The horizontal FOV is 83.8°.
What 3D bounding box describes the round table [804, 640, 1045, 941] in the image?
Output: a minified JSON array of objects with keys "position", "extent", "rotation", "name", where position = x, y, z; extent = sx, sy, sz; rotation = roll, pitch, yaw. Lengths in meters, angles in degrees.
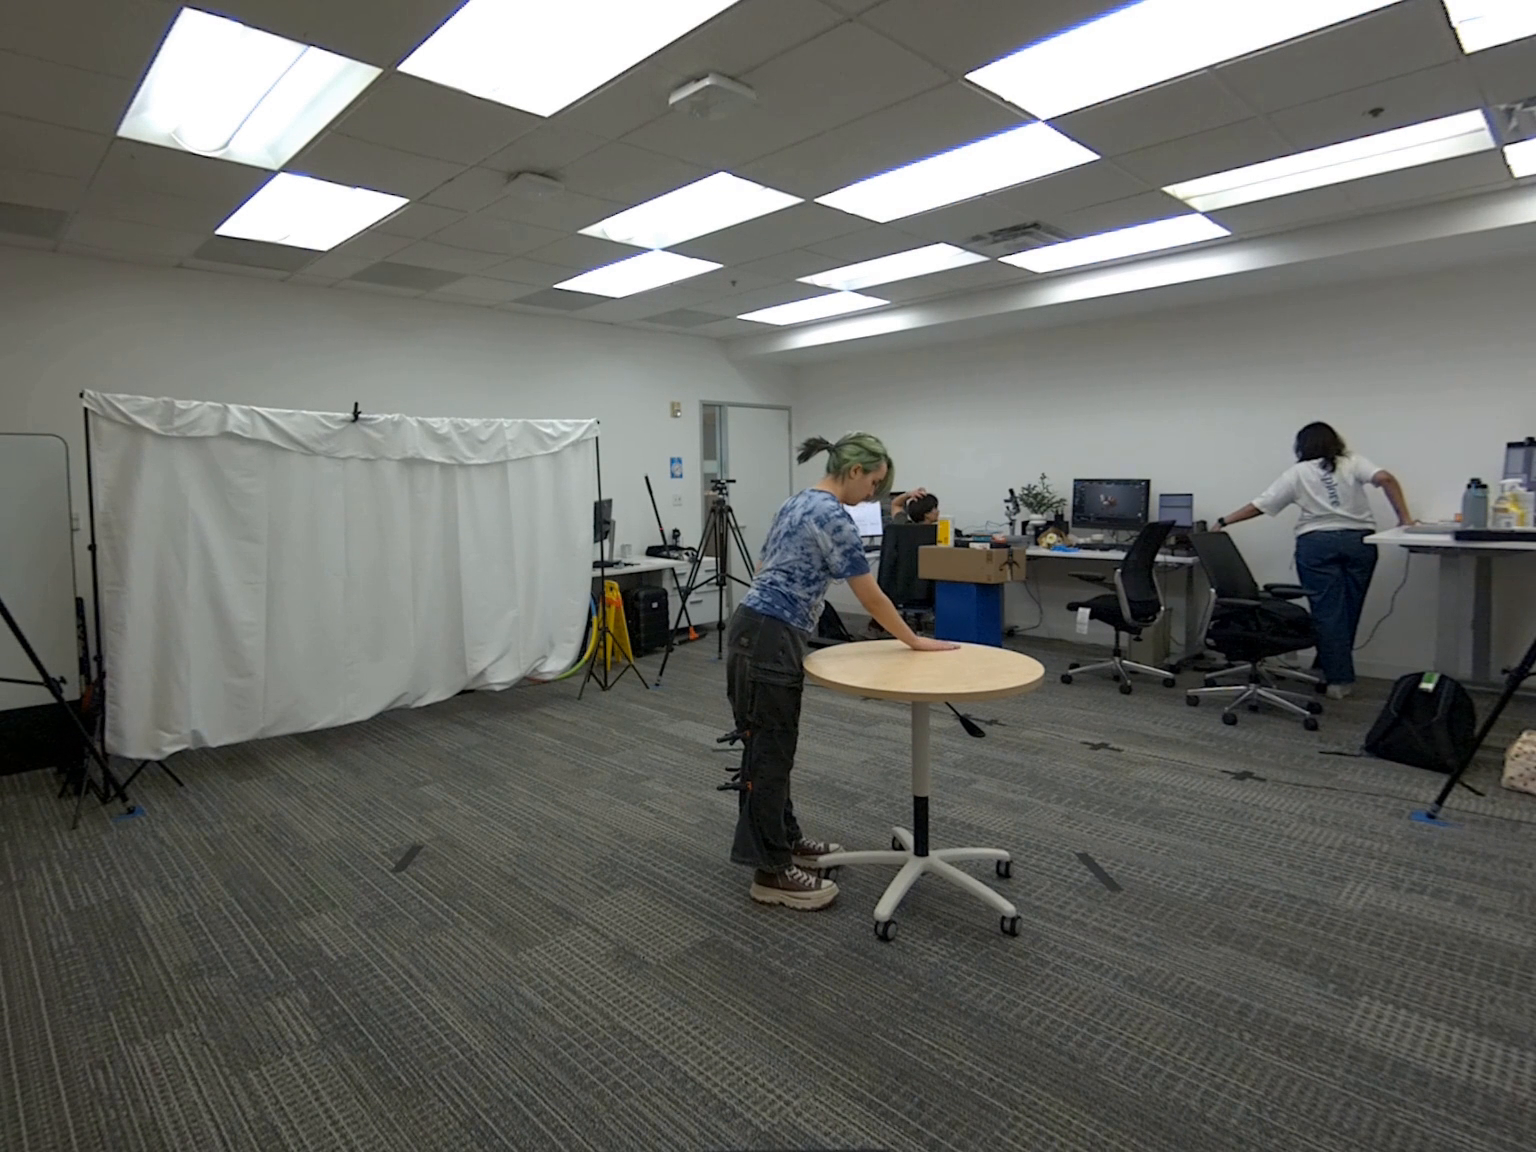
[{"position":[0.496,0.674,2.816],"extent":[0.784,0.783,0.789],"rotation":[-1,5,-2],"name":"round table"}]
